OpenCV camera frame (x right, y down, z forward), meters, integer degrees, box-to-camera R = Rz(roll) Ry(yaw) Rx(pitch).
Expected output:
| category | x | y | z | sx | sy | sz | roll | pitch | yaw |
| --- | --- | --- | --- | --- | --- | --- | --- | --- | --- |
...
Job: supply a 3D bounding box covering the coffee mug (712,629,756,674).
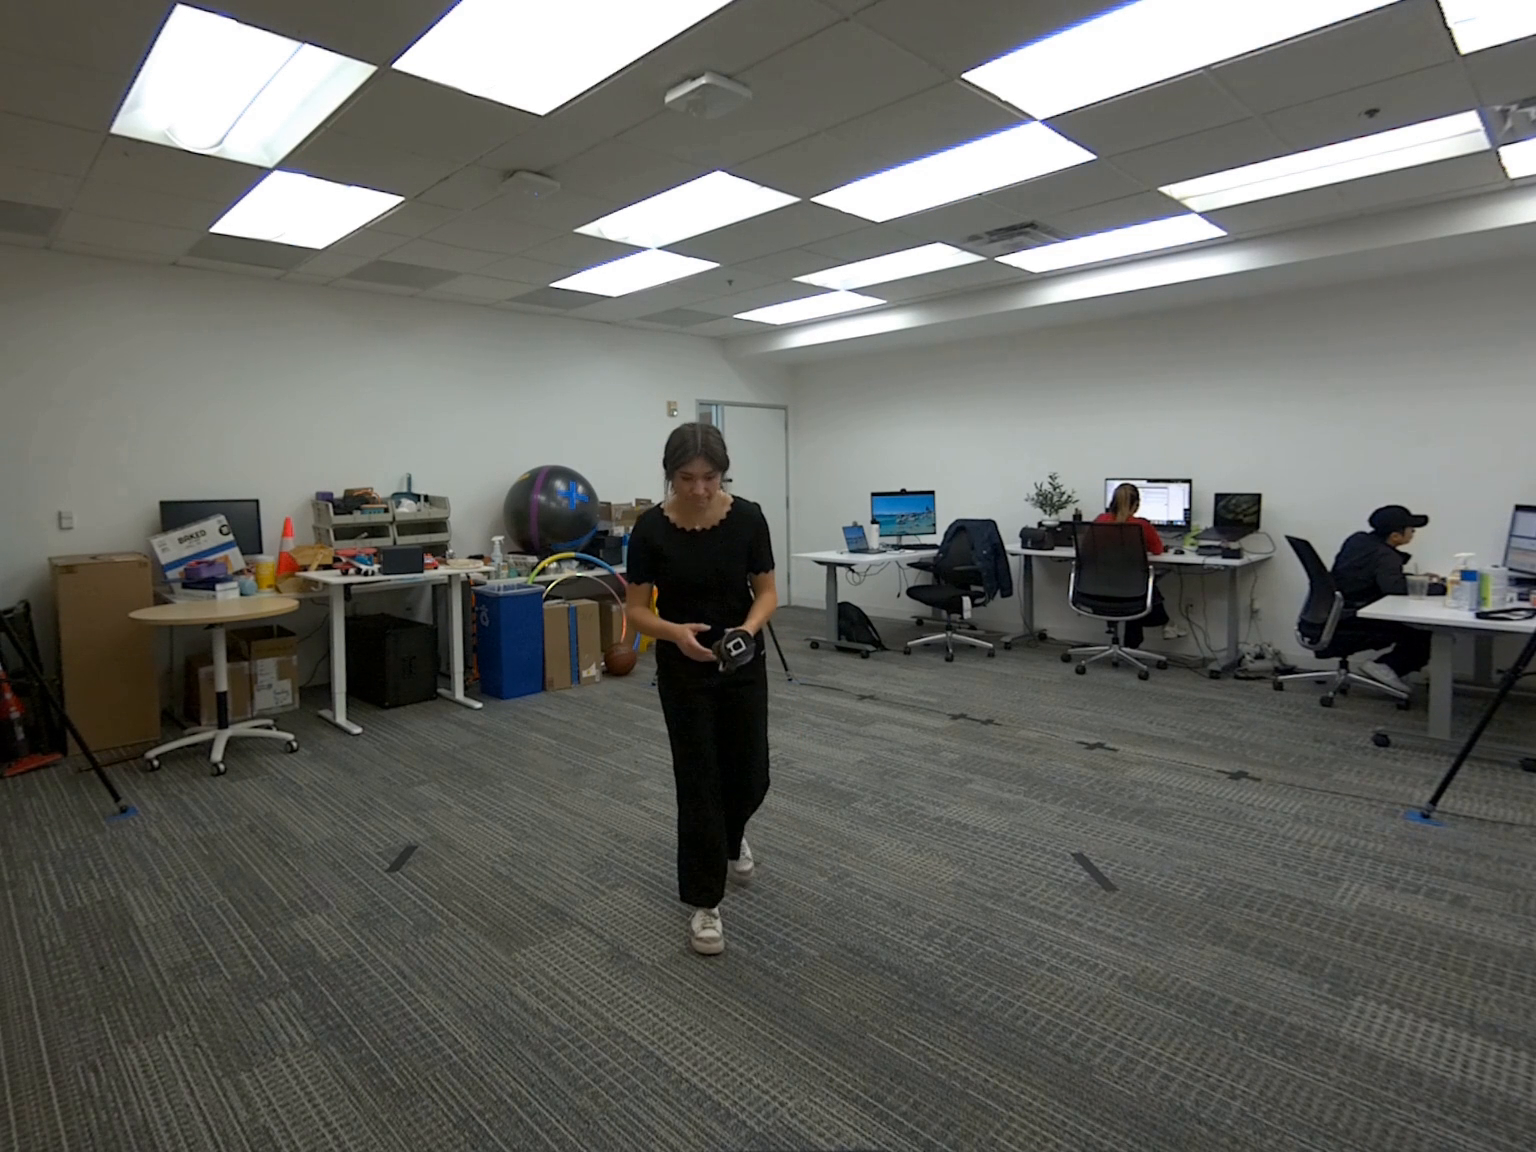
| category | x | y | z | sx | sy | sz | roll | pitch | yaw |
| --- | --- | --- | --- | --- | --- | --- | --- | --- | --- |
| coffee mug | -0.113 | 0.230 | 2.365 | 0.086 | 0.124 | 0.203 | 2 | -16 | -16 |
